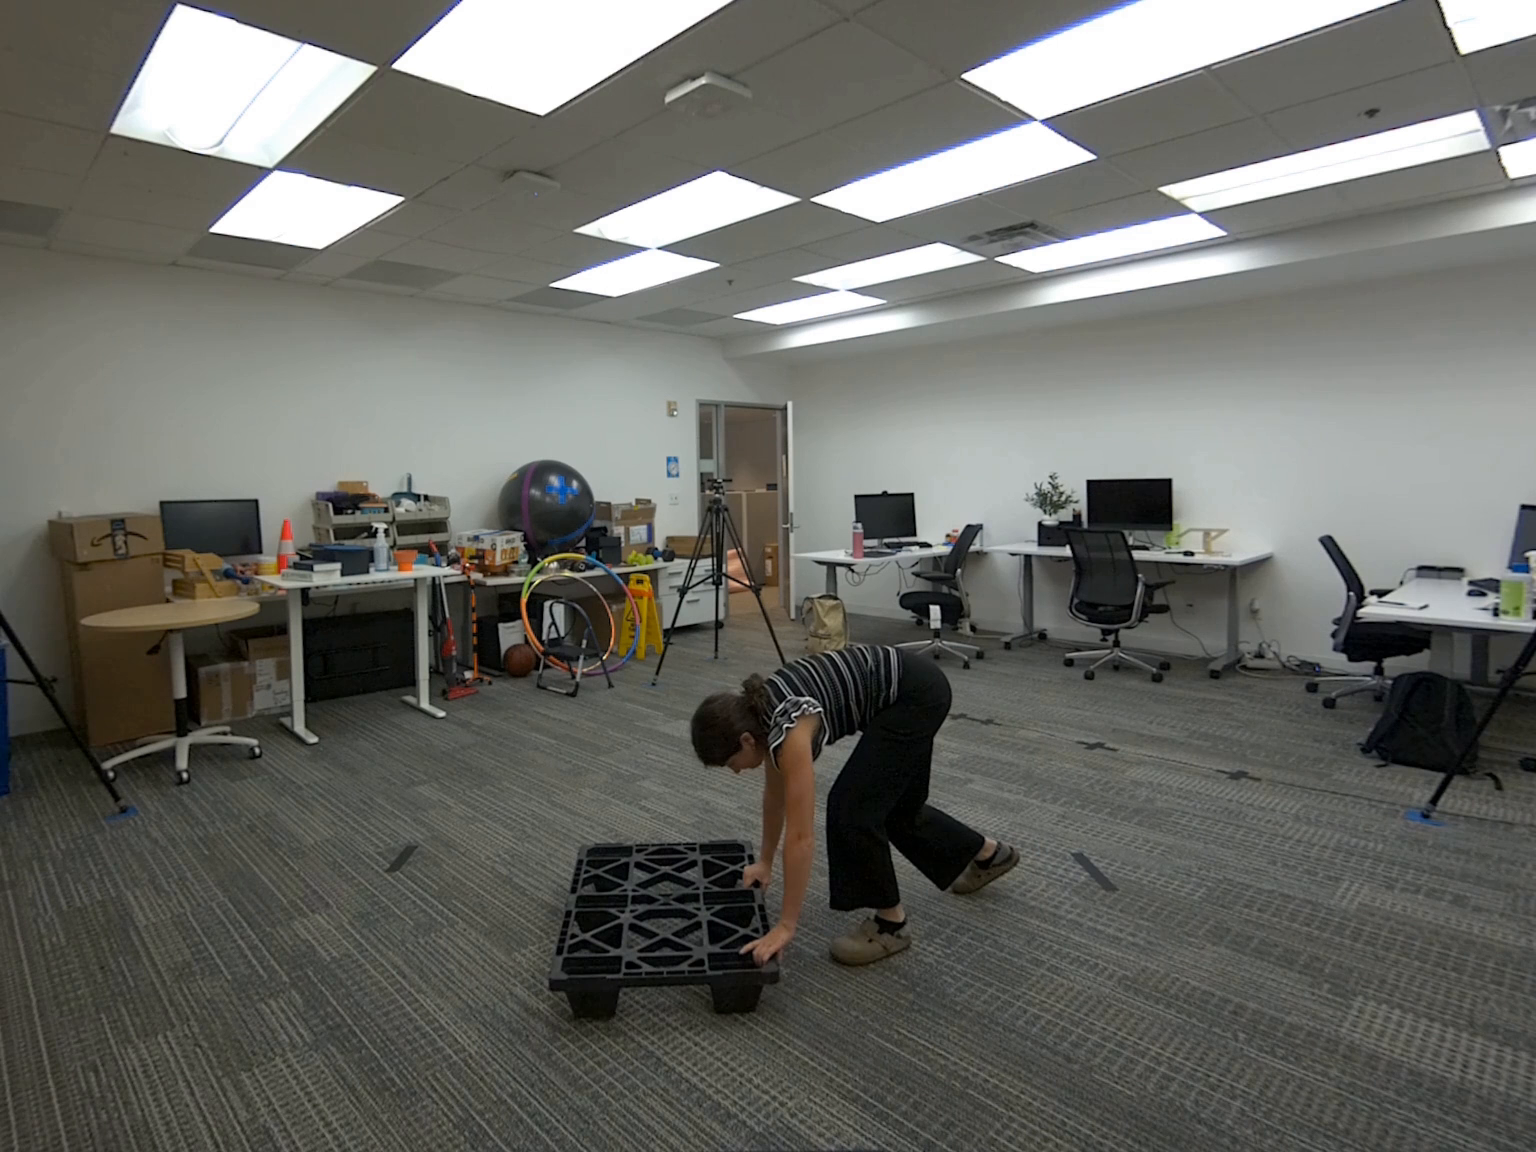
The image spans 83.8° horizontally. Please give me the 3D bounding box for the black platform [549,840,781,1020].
[{"bbox_3d":[-0.305,1.041,2.587,0.602,0.142,0.813,-2,6,-5],"label":"black platform"}]
